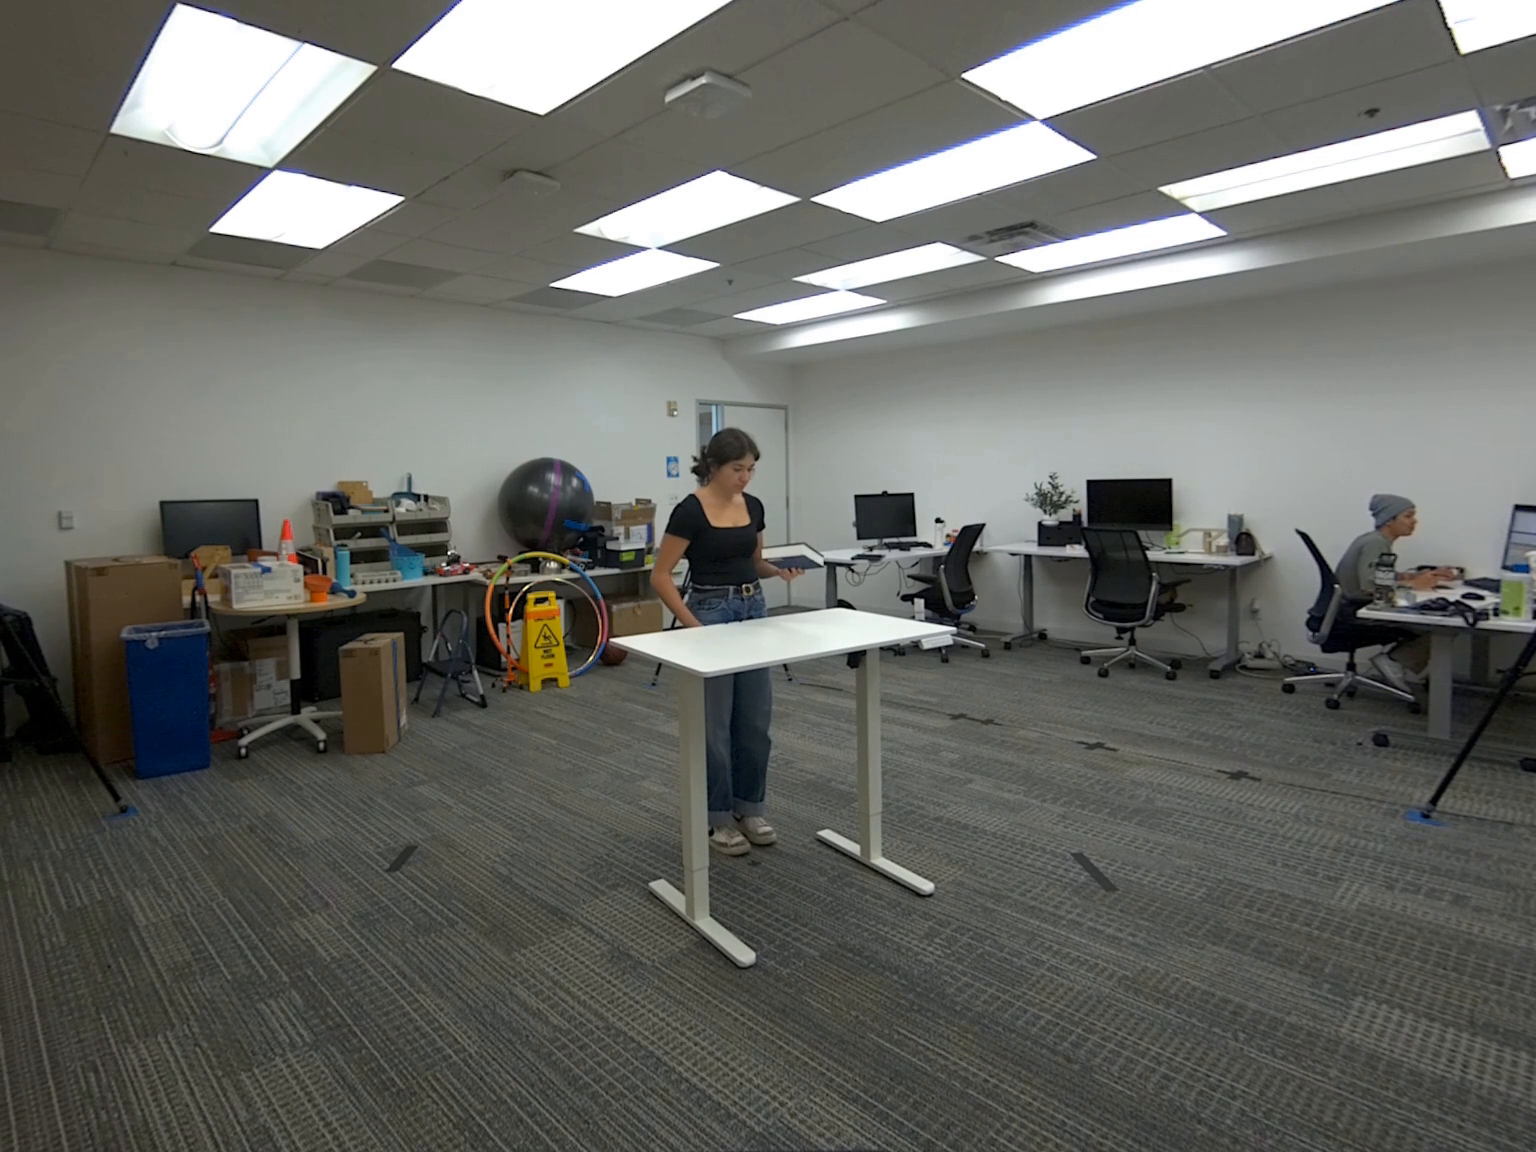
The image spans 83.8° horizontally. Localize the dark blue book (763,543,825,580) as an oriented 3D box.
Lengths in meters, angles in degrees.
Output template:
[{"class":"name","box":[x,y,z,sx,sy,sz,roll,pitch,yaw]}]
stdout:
[{"class":"dark blue book","box":[0.088,-0.063,3.093,0.166,0.046,0.238,-6,-12,22]}]
